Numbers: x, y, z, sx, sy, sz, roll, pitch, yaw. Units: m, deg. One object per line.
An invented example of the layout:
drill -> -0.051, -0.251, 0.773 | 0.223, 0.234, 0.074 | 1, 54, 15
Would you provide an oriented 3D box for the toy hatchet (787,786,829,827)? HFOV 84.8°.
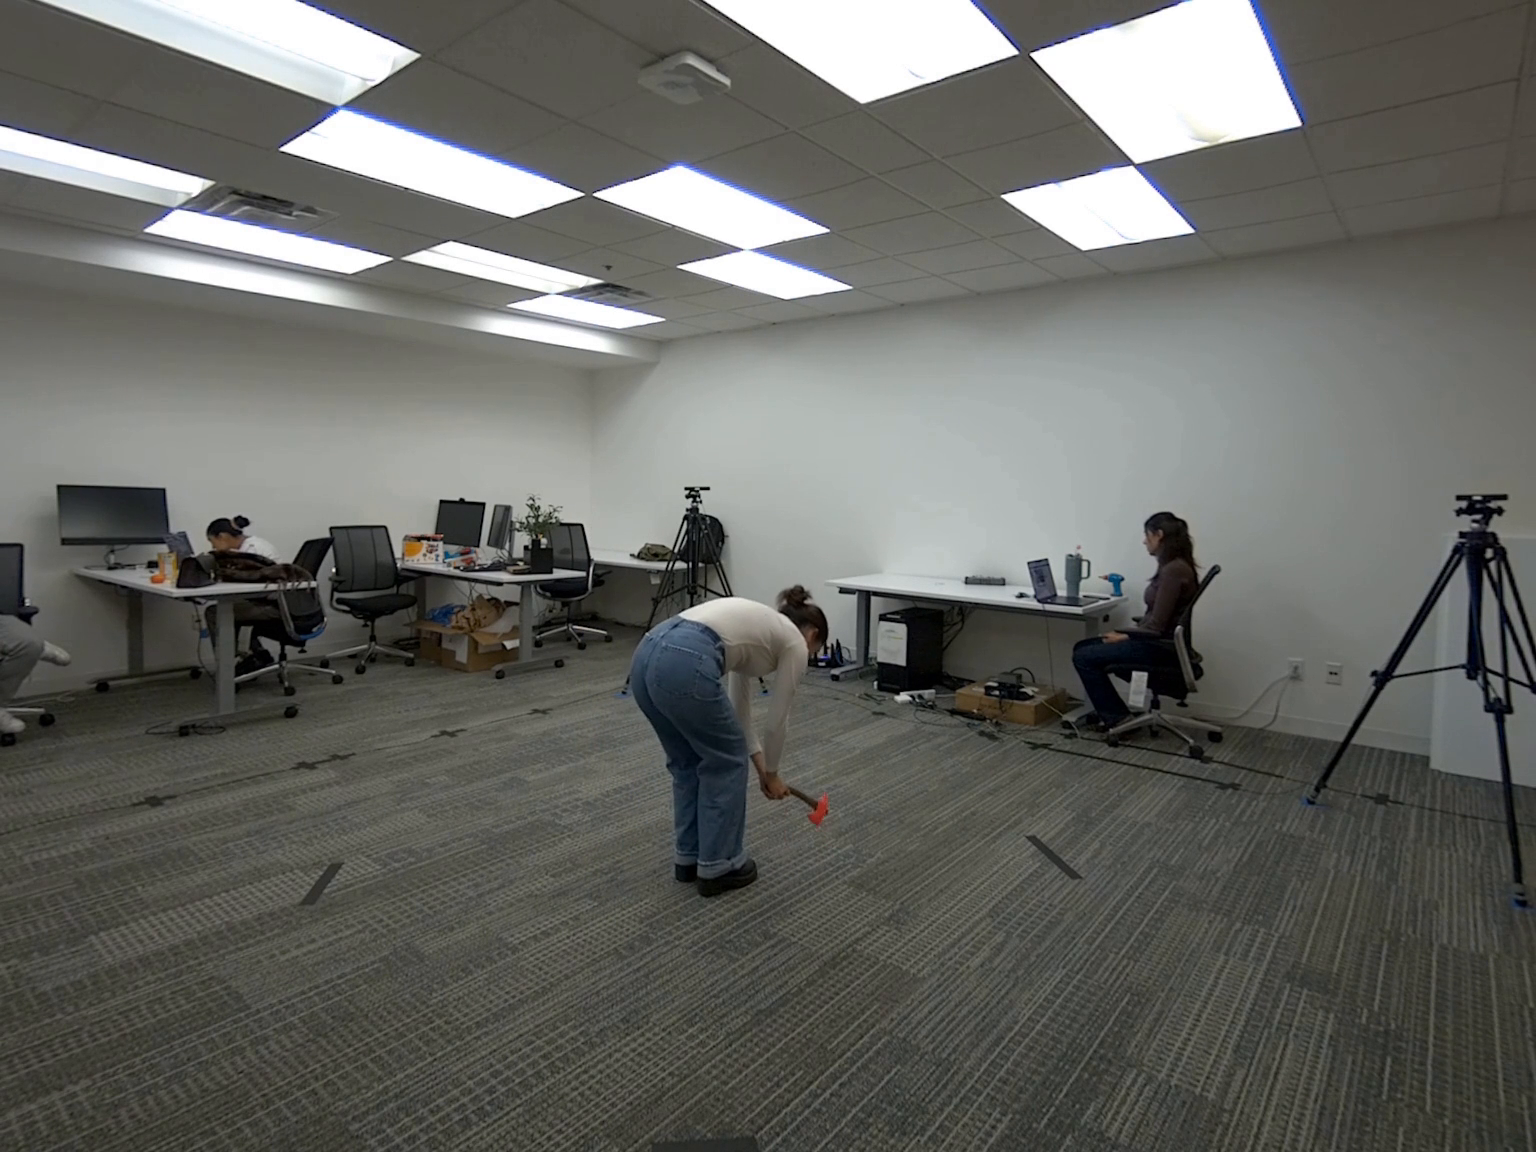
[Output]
toy hatchet -> 0.115, 0.836, 3.199 | 0.265, 0.133, 0.029 | 13, -25, -16
